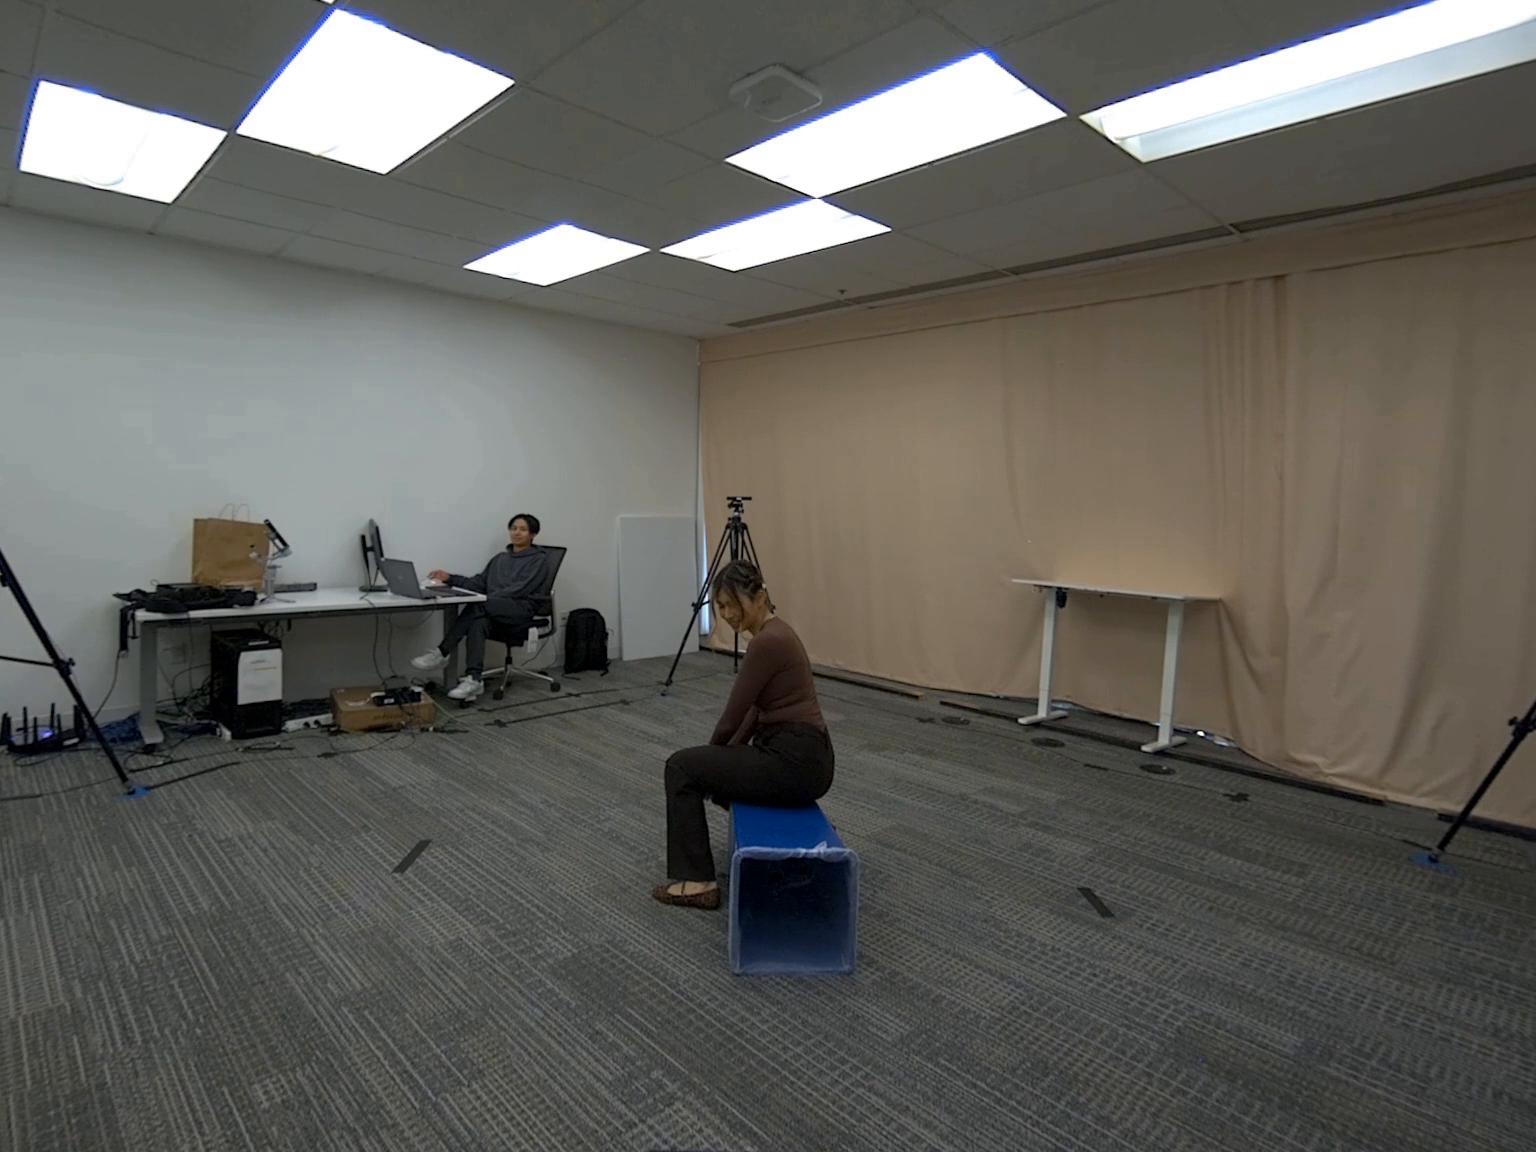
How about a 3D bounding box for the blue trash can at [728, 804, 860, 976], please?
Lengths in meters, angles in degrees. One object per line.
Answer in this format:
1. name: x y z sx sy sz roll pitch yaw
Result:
1. blue trash can: 0.025 0.971 2.805 0.372 0.378 0.717 1 2 -7
